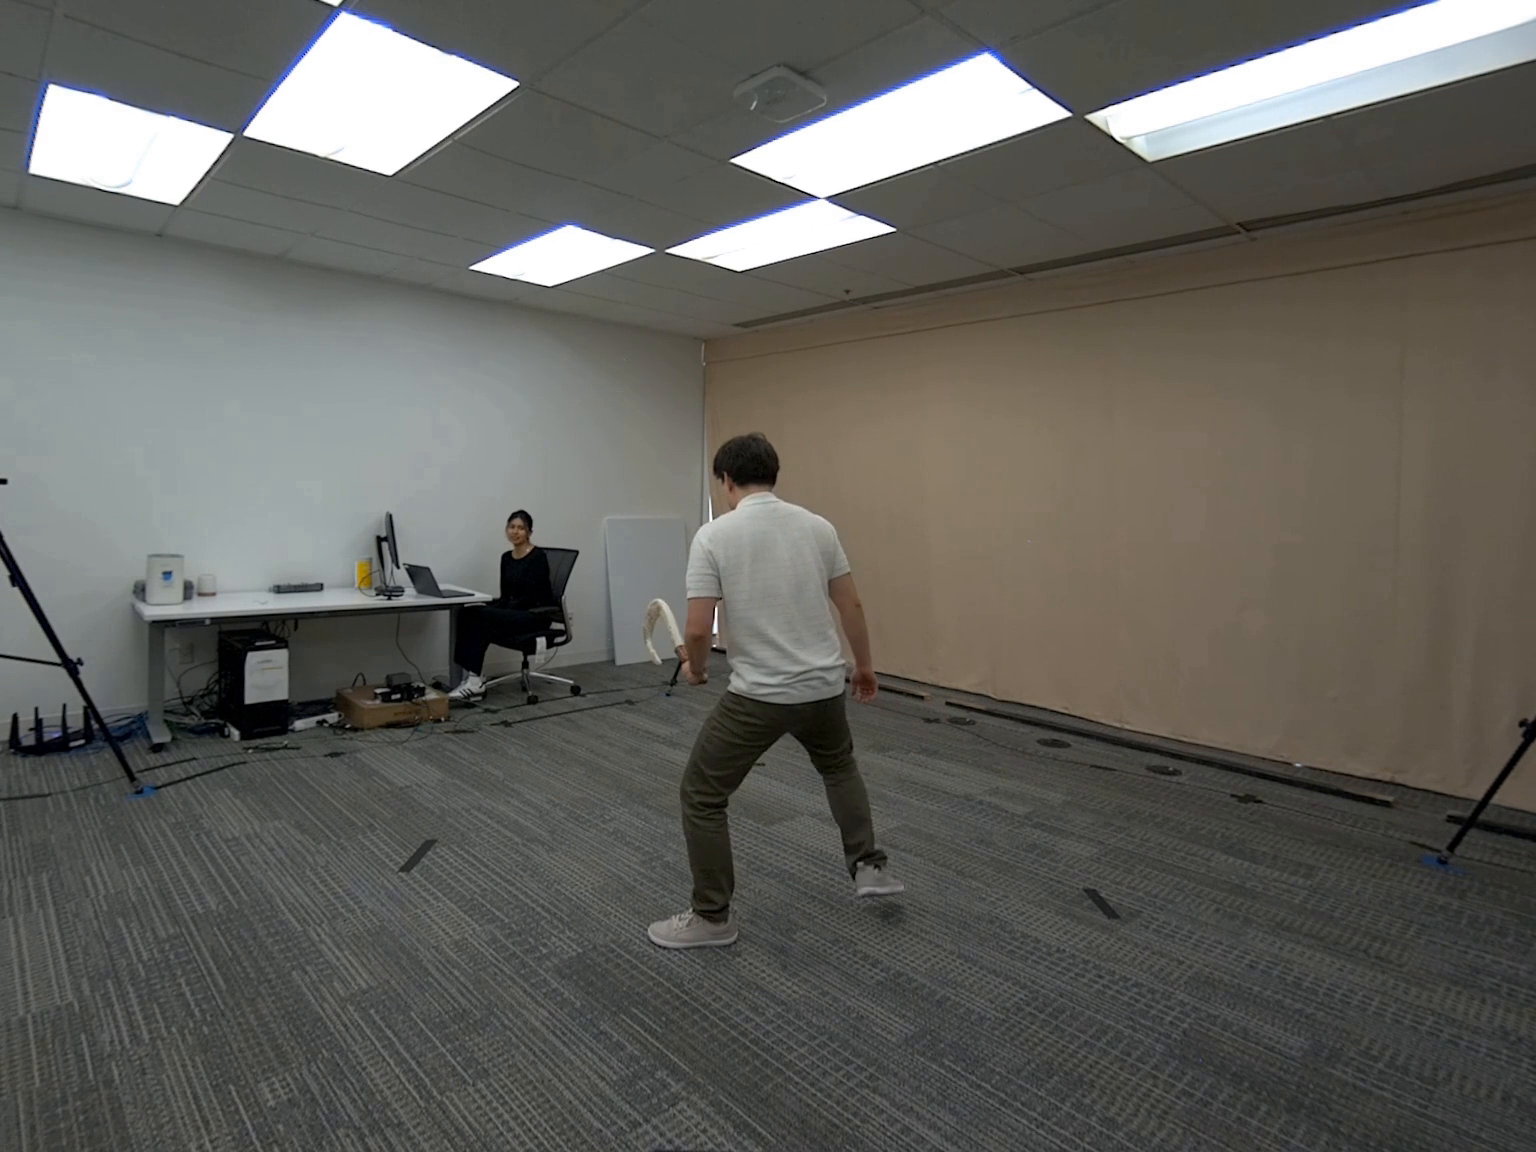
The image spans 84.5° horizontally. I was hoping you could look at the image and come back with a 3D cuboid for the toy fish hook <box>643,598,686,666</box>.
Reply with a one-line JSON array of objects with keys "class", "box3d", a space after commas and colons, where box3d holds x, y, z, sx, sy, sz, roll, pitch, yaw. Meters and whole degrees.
[{"class": "toy fish hook", "box3d": [-0.341, 0.276, 2.953, 0.047, 0.222, 0.522, 2, 27, -28]}]
